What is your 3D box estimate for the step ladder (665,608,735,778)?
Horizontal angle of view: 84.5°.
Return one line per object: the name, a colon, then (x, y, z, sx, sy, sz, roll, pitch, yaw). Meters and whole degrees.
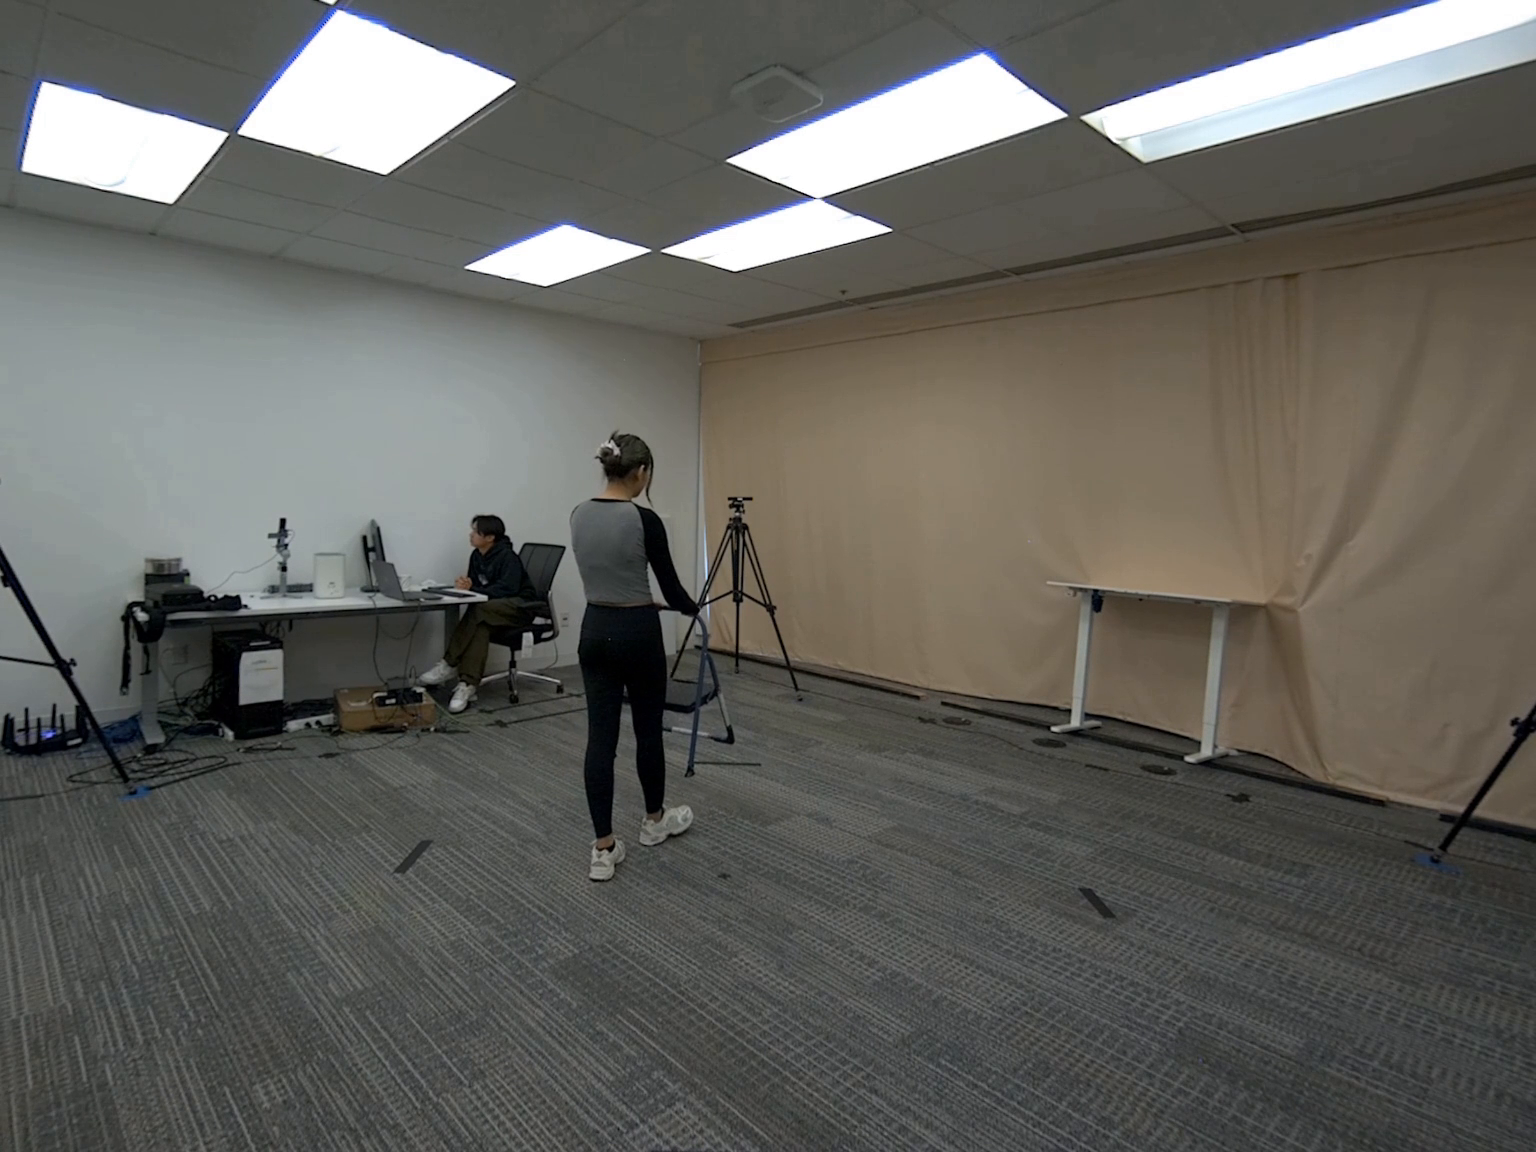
step ladder: (-0.420, 0.434, 3.460, 0.440, 0.600, 0.344, 4, 14, 31)
